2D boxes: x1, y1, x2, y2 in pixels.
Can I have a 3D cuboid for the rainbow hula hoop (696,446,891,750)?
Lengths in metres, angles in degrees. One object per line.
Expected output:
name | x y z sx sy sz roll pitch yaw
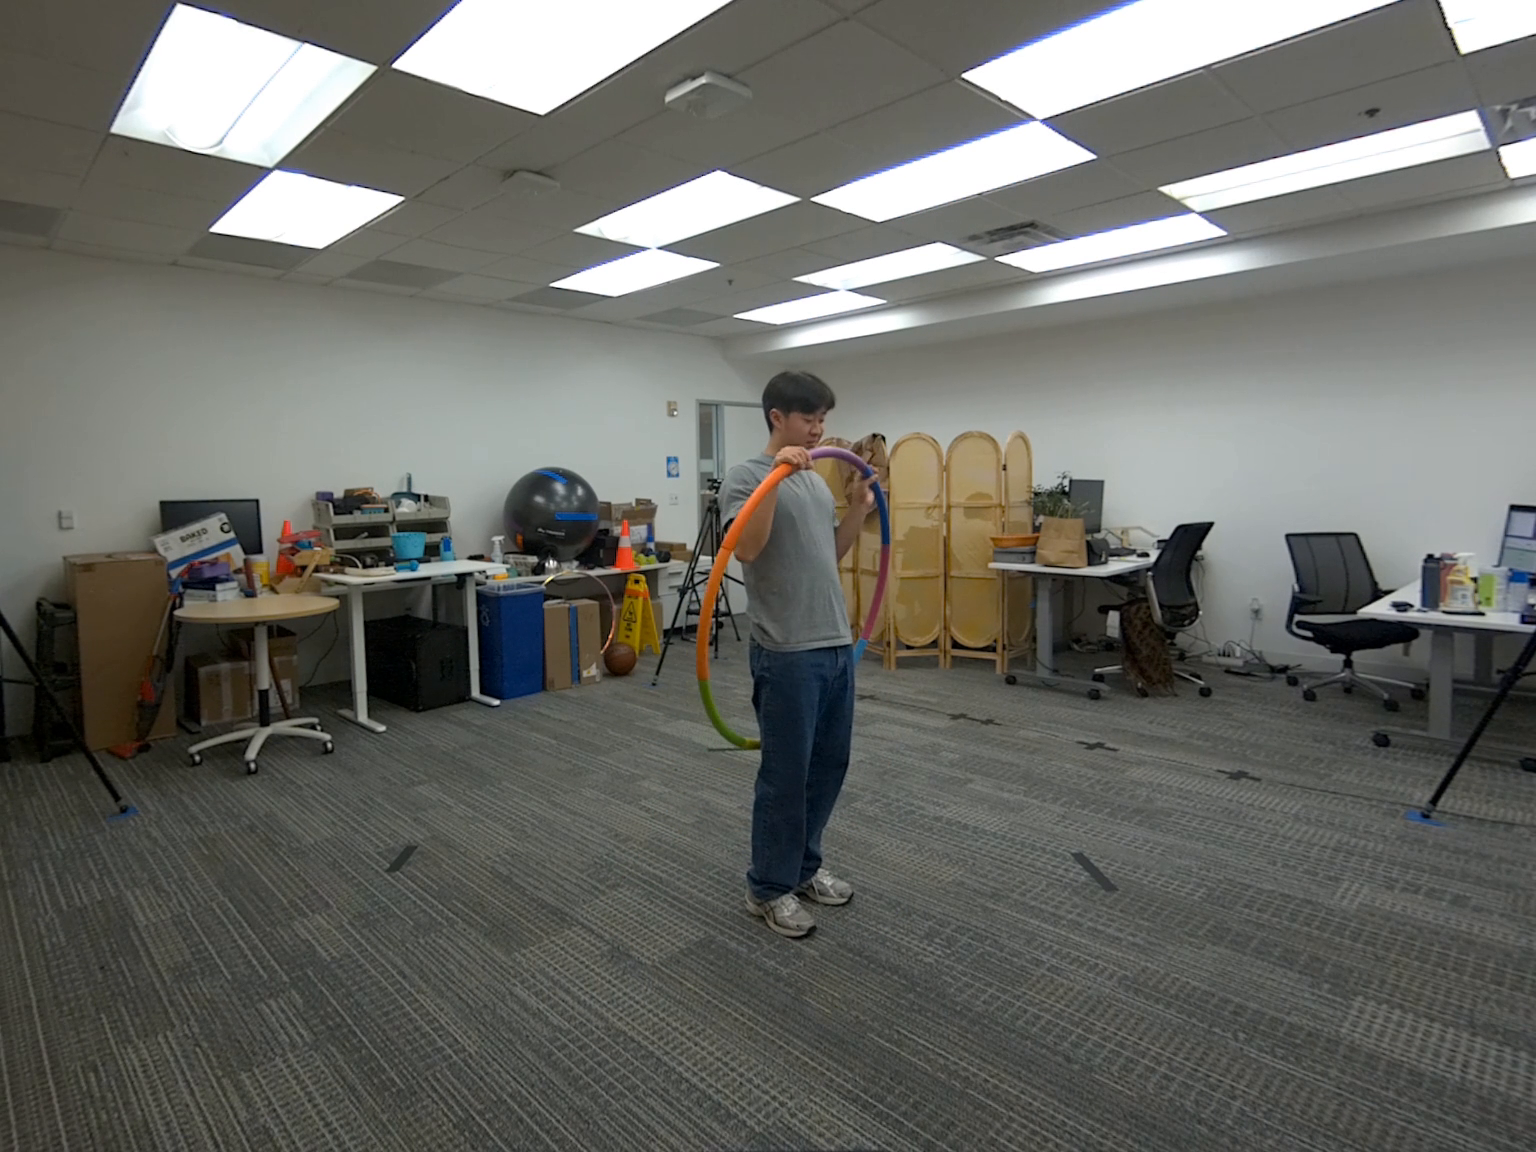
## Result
rainbow hula hoop | 0.110 0.085 2.699 0.037 0.969 0.954 19 16 35
